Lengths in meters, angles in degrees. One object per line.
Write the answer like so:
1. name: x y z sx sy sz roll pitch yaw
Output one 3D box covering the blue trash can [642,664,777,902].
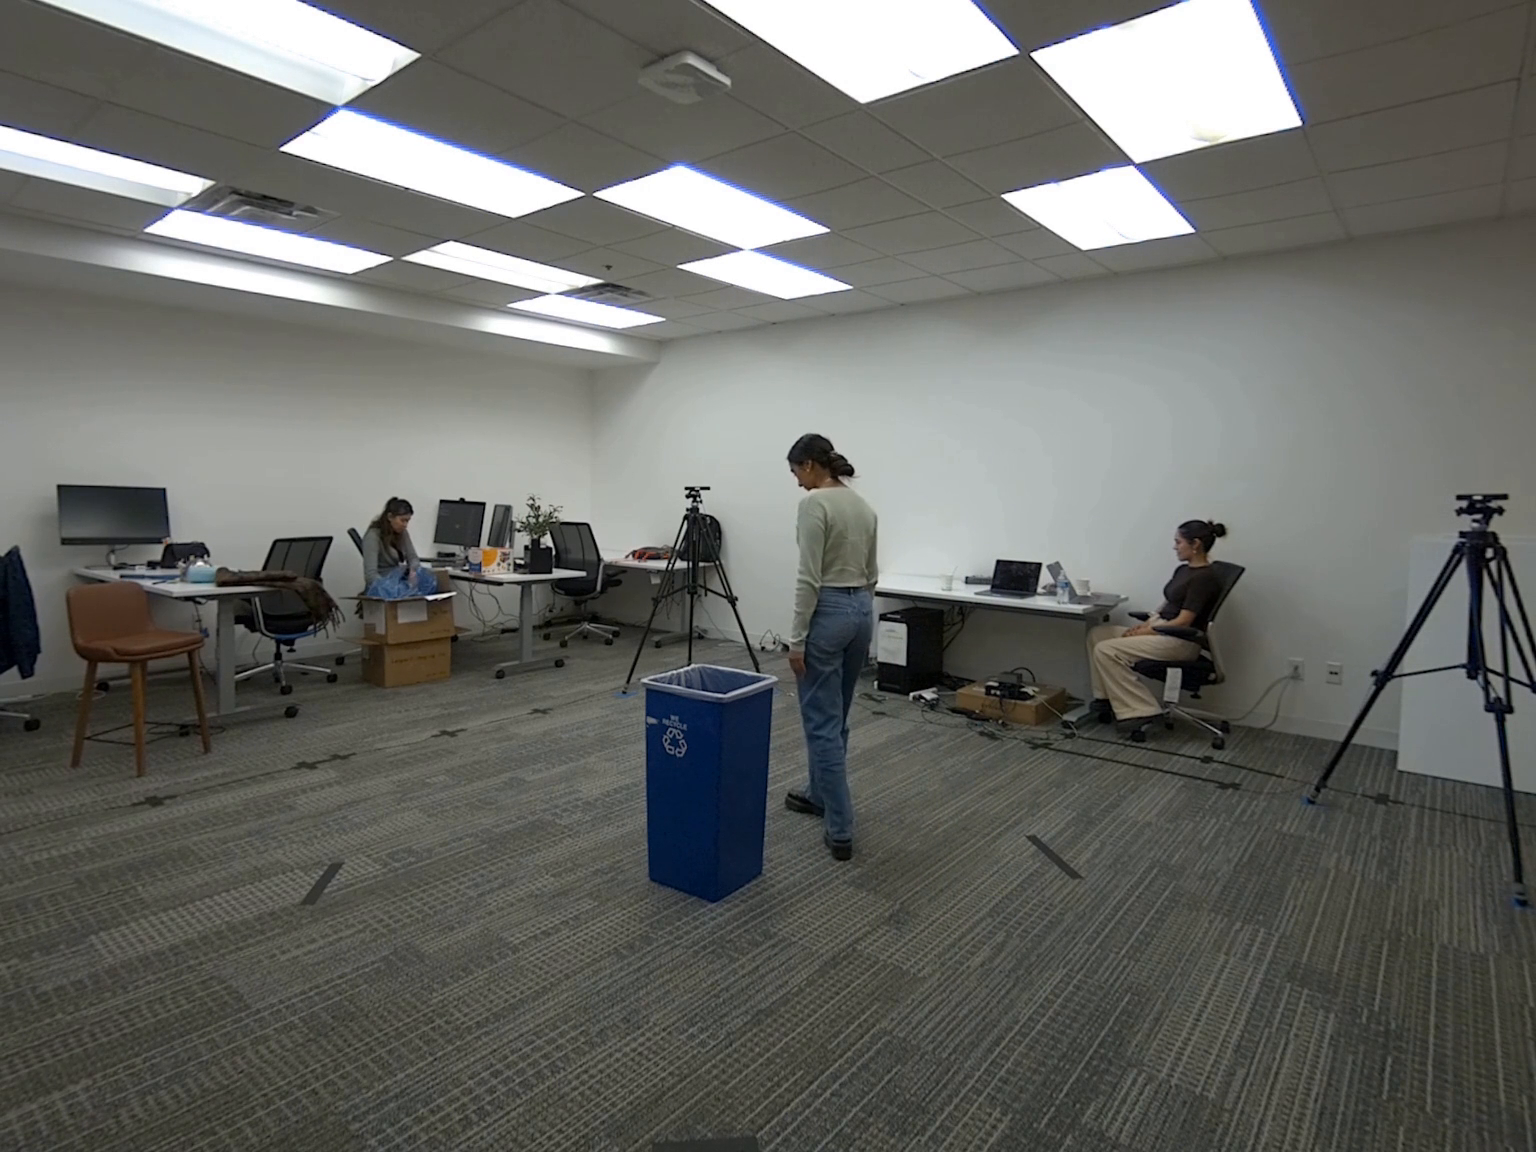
1. blue trash can: -0.217 0.713 3.025 0.386 0.711 0.368 3 4 33
